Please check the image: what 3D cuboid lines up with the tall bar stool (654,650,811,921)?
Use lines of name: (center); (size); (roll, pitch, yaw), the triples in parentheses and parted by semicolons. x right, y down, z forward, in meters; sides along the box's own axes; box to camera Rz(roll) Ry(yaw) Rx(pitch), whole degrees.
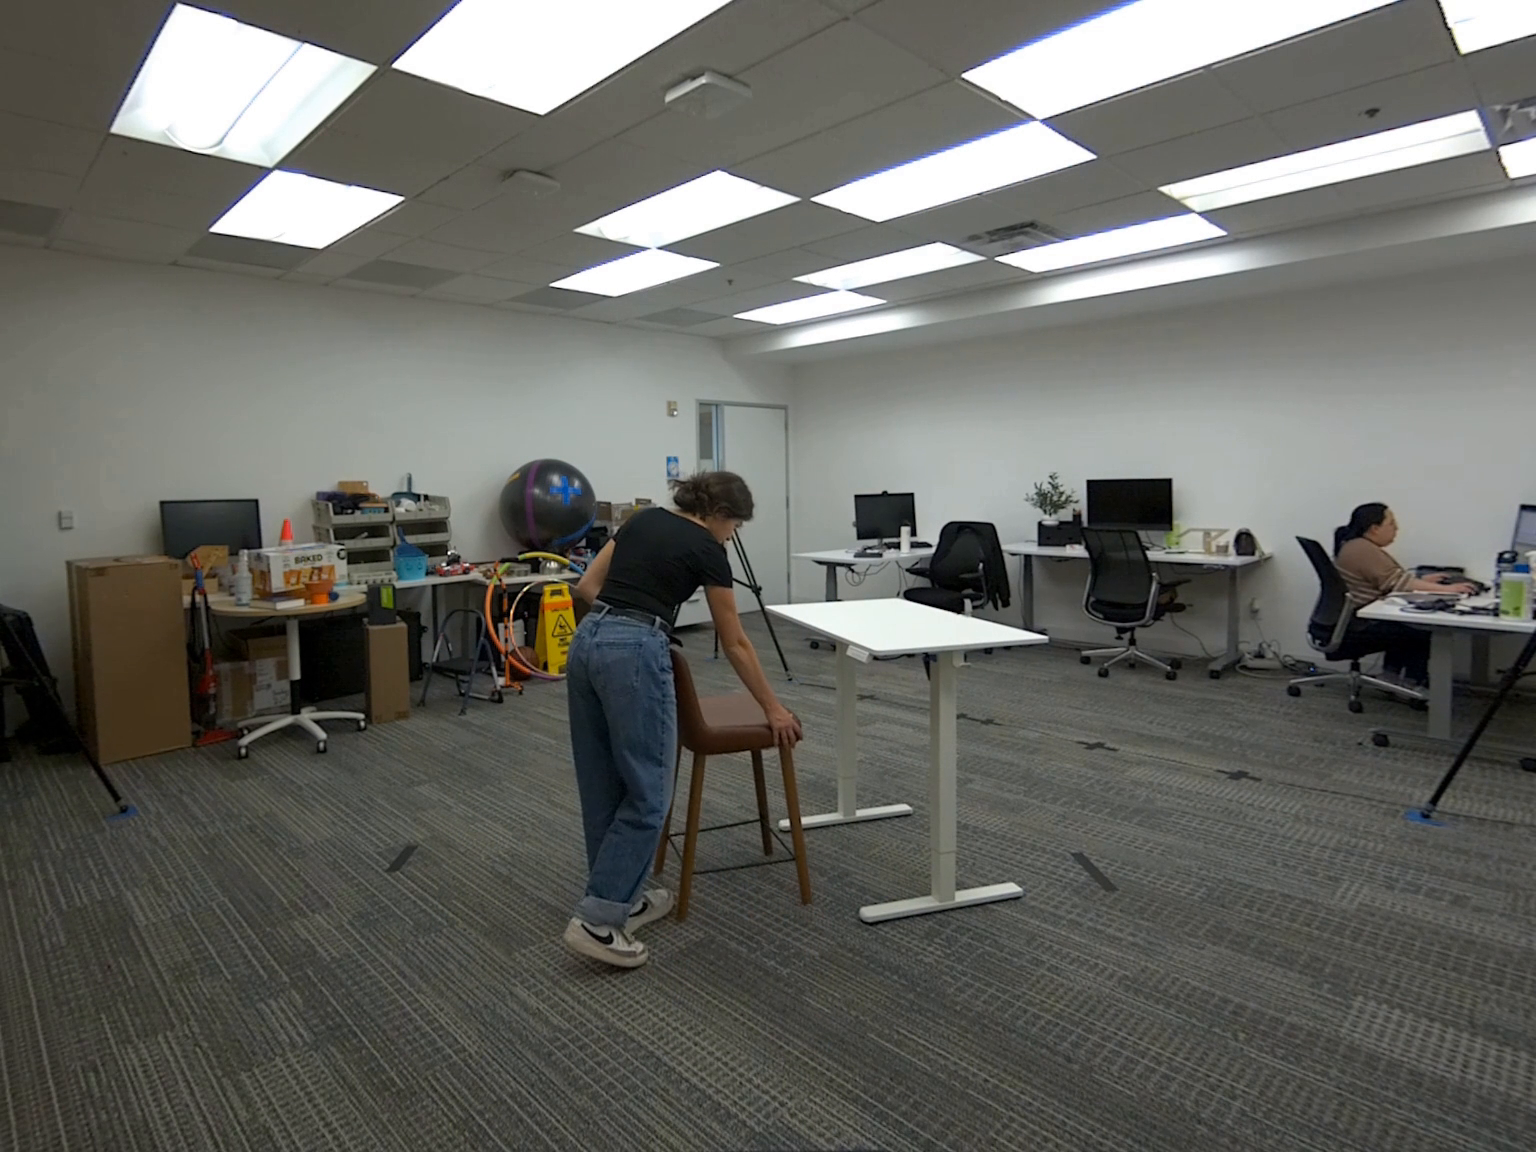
tall bar stool: (-0.146, 0.630, 2.912); (0.461, 0.886, 0.465); (-5, 5, -17)
